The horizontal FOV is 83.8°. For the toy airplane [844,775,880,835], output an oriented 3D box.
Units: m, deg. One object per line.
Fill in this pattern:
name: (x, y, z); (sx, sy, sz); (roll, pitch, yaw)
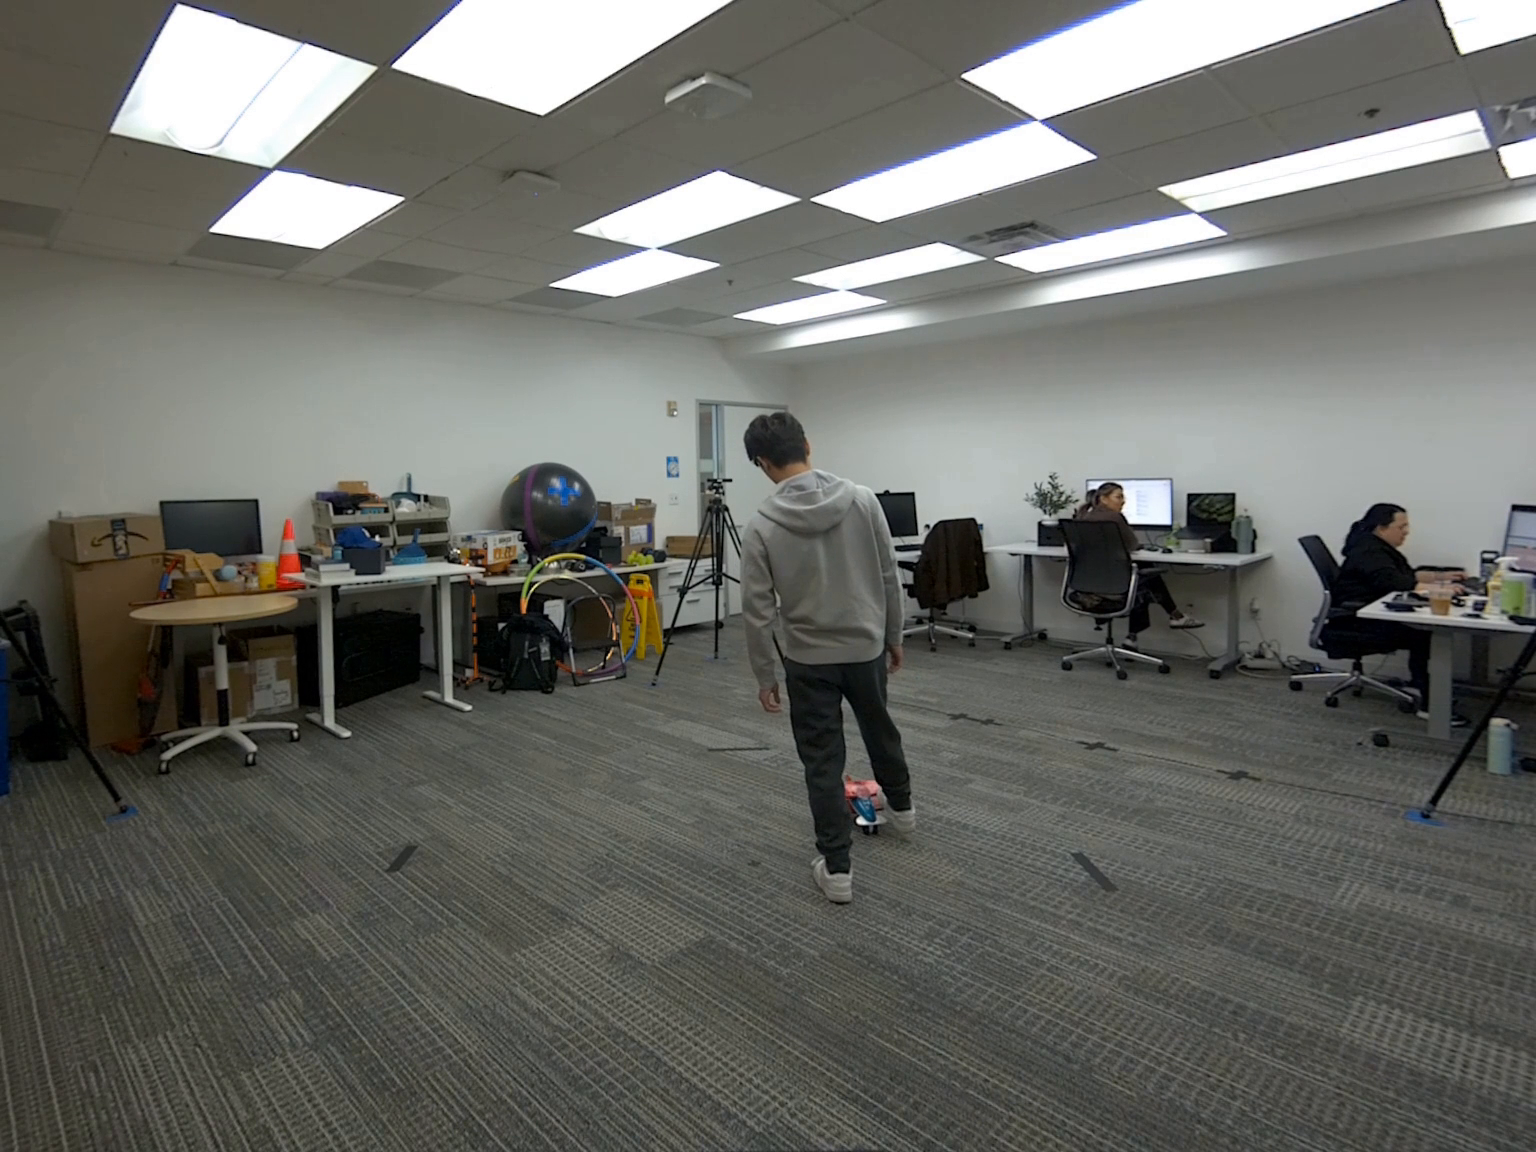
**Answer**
toy airplane: (0.392, 0.928, 3.441); (0.244, 0.156, 0.267); (-3, 6, -38)
